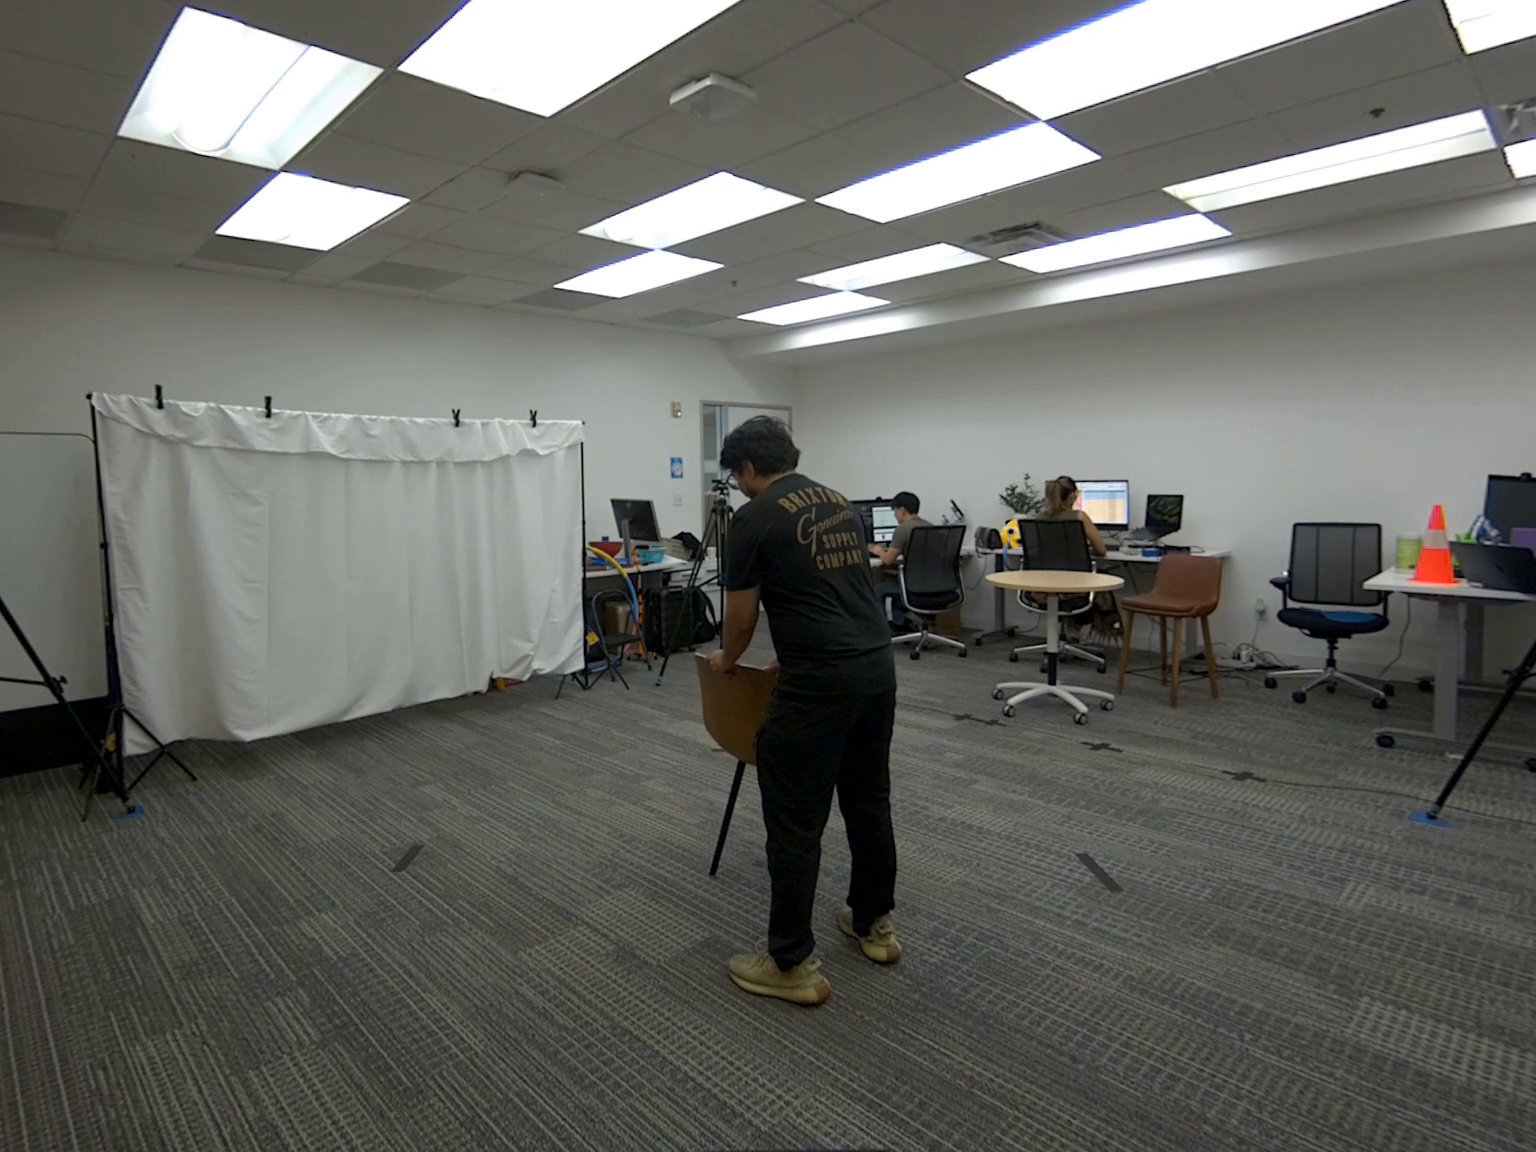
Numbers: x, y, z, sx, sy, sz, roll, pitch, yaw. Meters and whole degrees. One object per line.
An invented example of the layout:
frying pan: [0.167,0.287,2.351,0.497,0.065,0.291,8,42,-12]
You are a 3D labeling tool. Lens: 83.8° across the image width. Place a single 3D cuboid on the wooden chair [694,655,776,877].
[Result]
wooden chair: [0.073,0.610,2.959,0.493,0.866,0.514,3,17,43]
